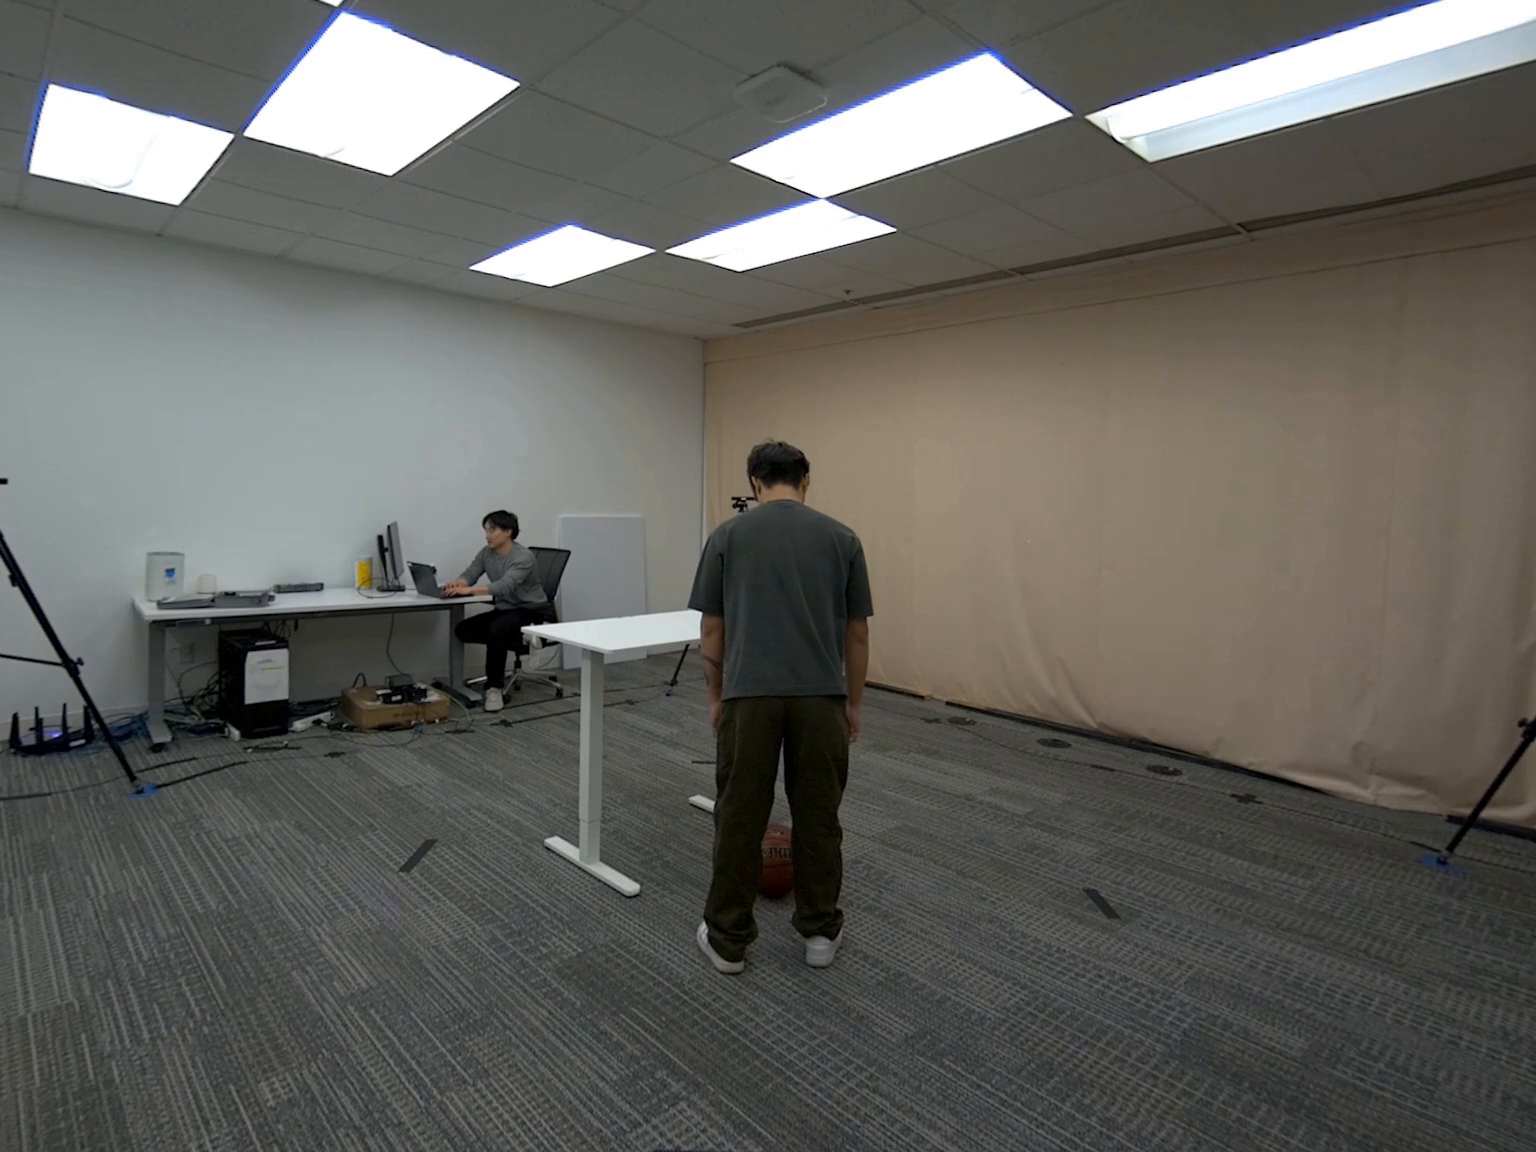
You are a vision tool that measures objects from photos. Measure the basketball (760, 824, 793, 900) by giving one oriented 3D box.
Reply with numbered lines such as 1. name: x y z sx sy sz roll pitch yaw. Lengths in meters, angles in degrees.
1. basketball: 0.014 1.006 2.974 0.236 0.235 0.237 1 4 -1
